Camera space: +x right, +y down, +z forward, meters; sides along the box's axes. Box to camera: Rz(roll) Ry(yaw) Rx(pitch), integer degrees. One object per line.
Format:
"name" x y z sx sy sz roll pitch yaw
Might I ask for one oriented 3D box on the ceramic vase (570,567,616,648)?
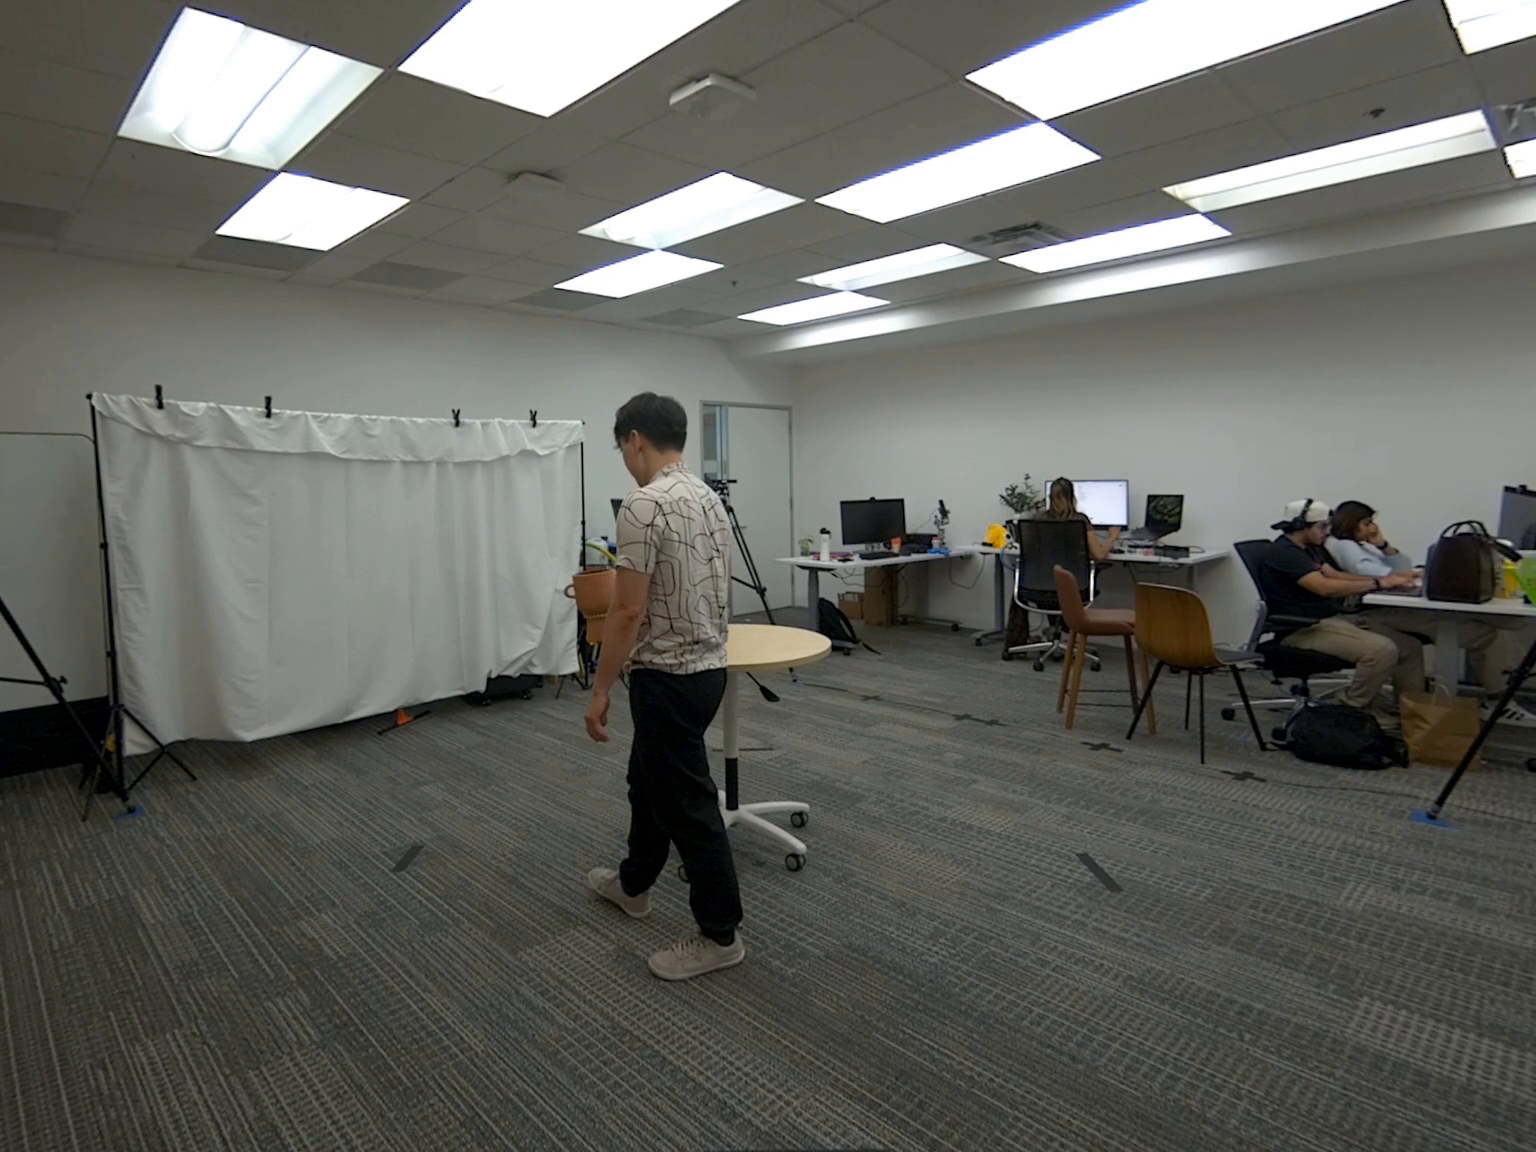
"ceramic vase" -0.548 0.092 2.741 0.161 0.219 0.133 -5 6 17
